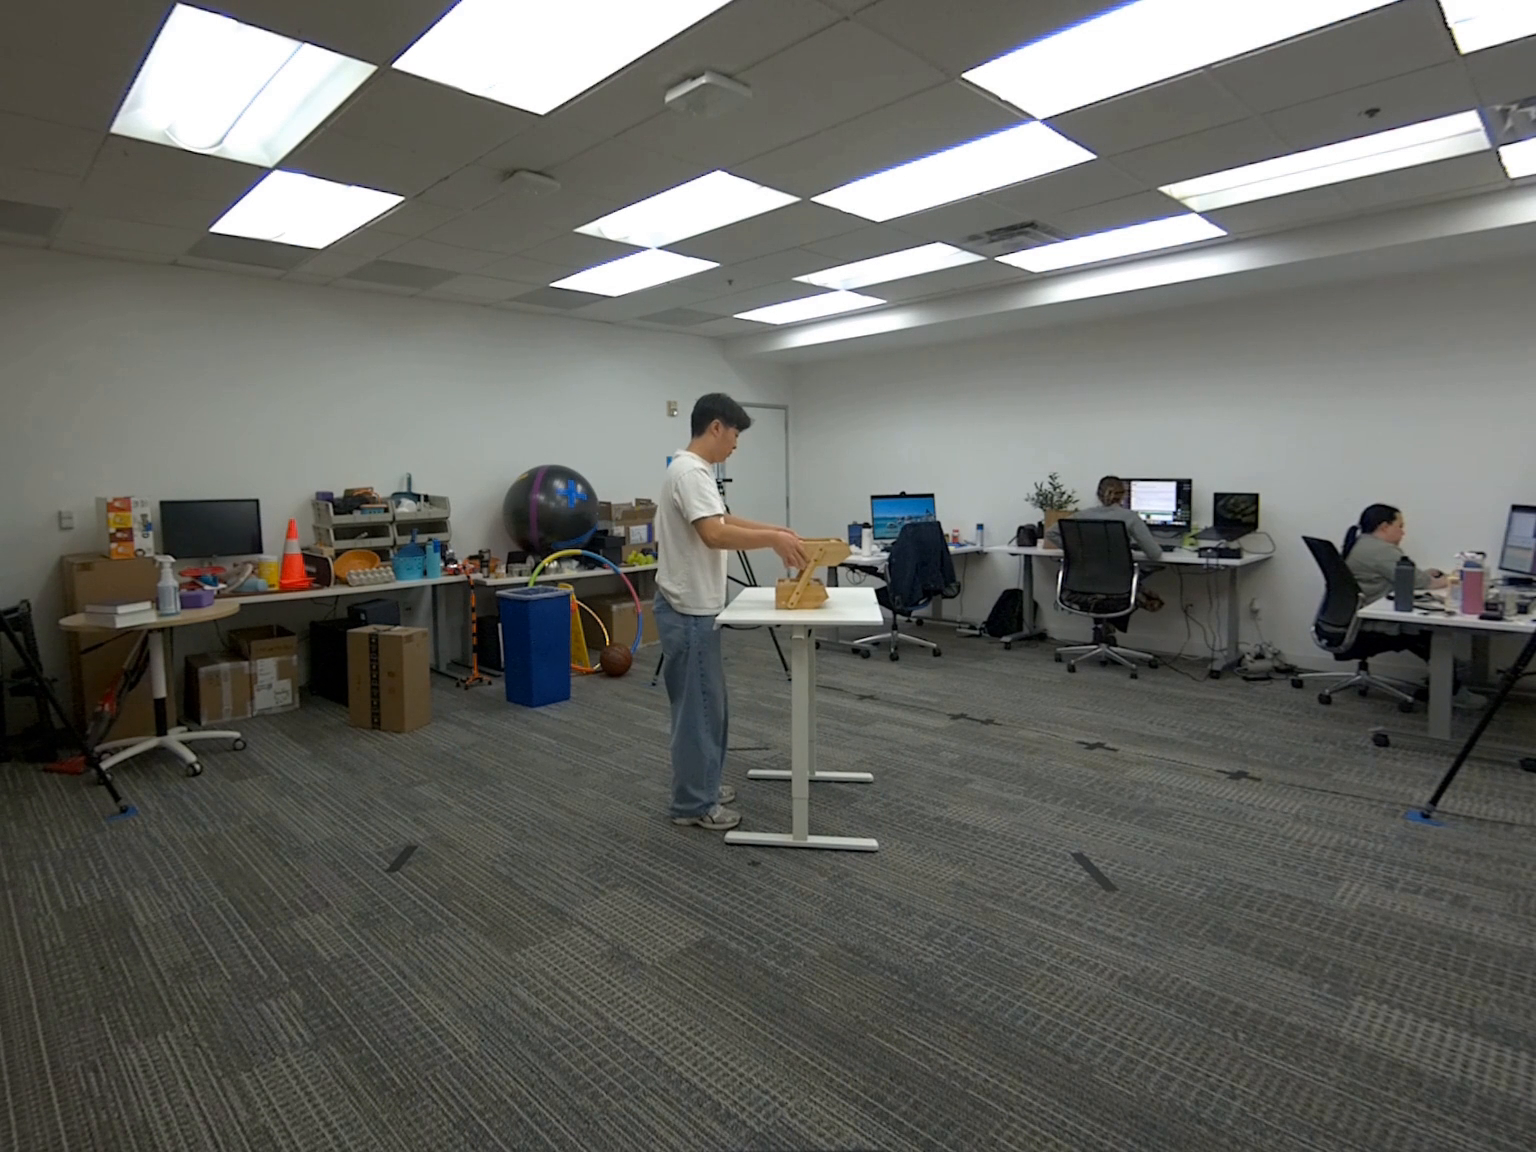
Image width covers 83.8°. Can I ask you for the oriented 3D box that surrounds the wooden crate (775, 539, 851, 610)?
[{"bbox_3d":[0.176,-0.004,3.474,0.303,0.273,0.324,0,2,3],"label":"wooden crate"}]
